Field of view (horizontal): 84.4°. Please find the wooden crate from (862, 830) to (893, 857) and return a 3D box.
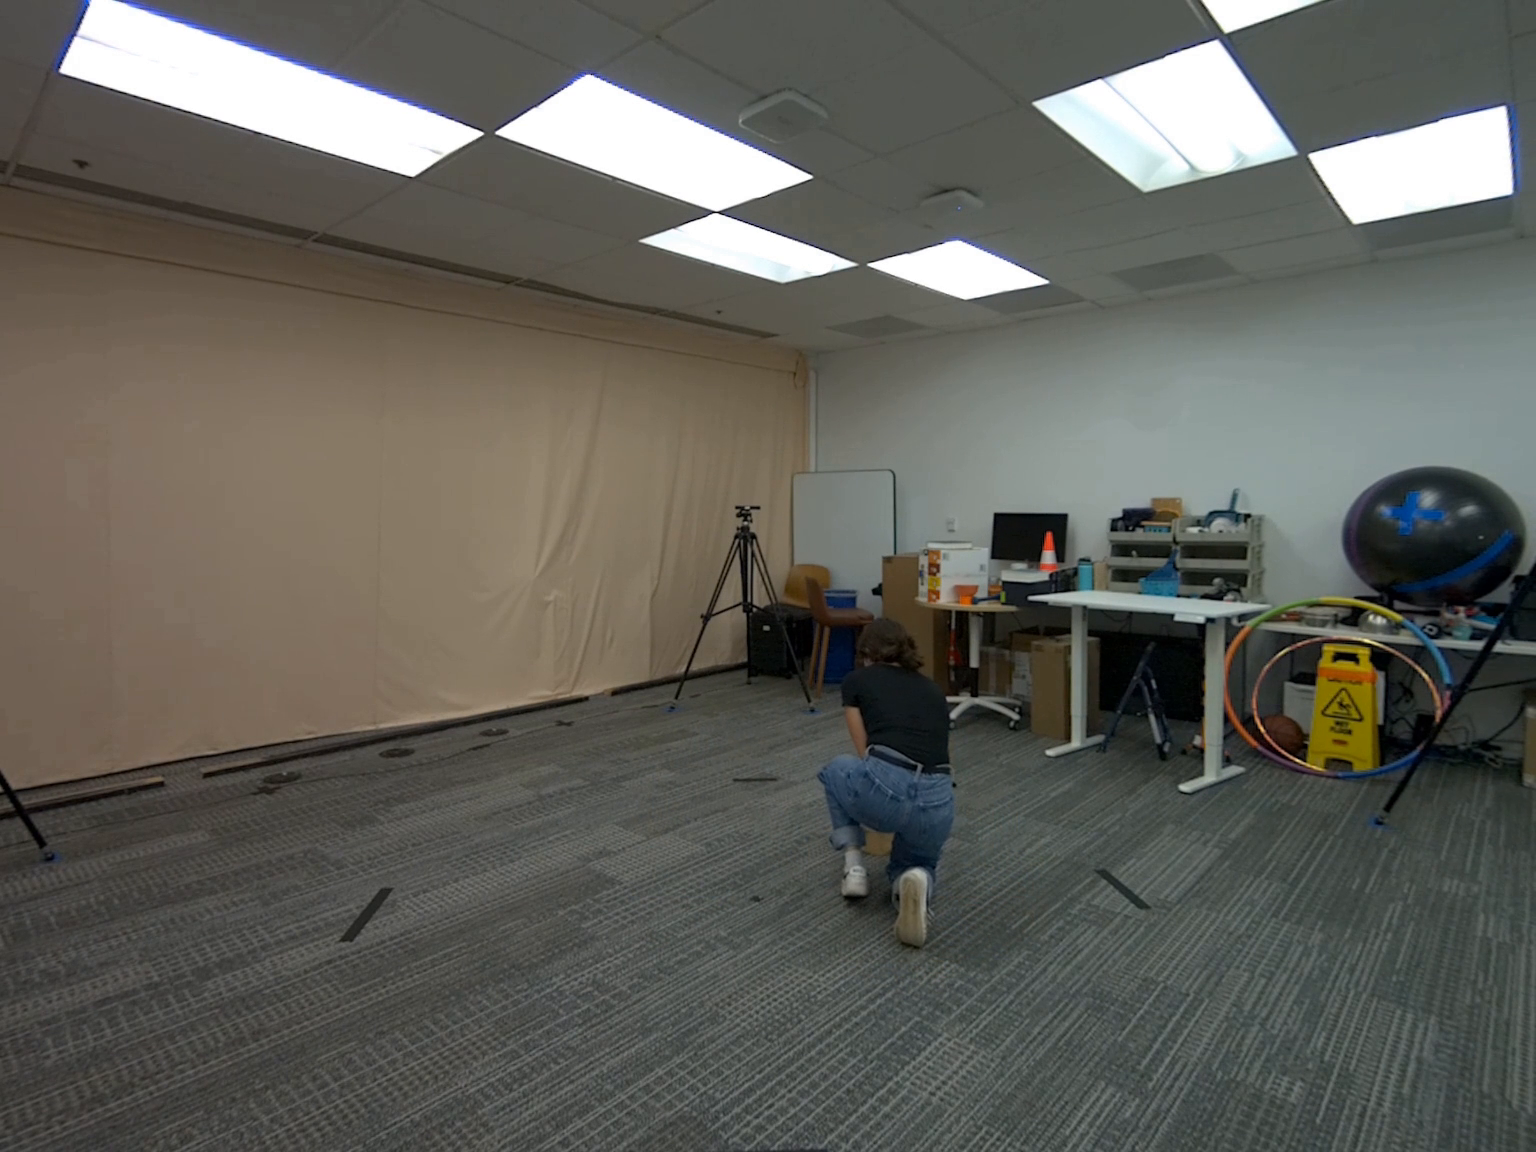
[{"bbox_3d":[0.453,0.963,3.514,0.311,0.273,0.315,3,5,32],"label":"wooden crate"}]
